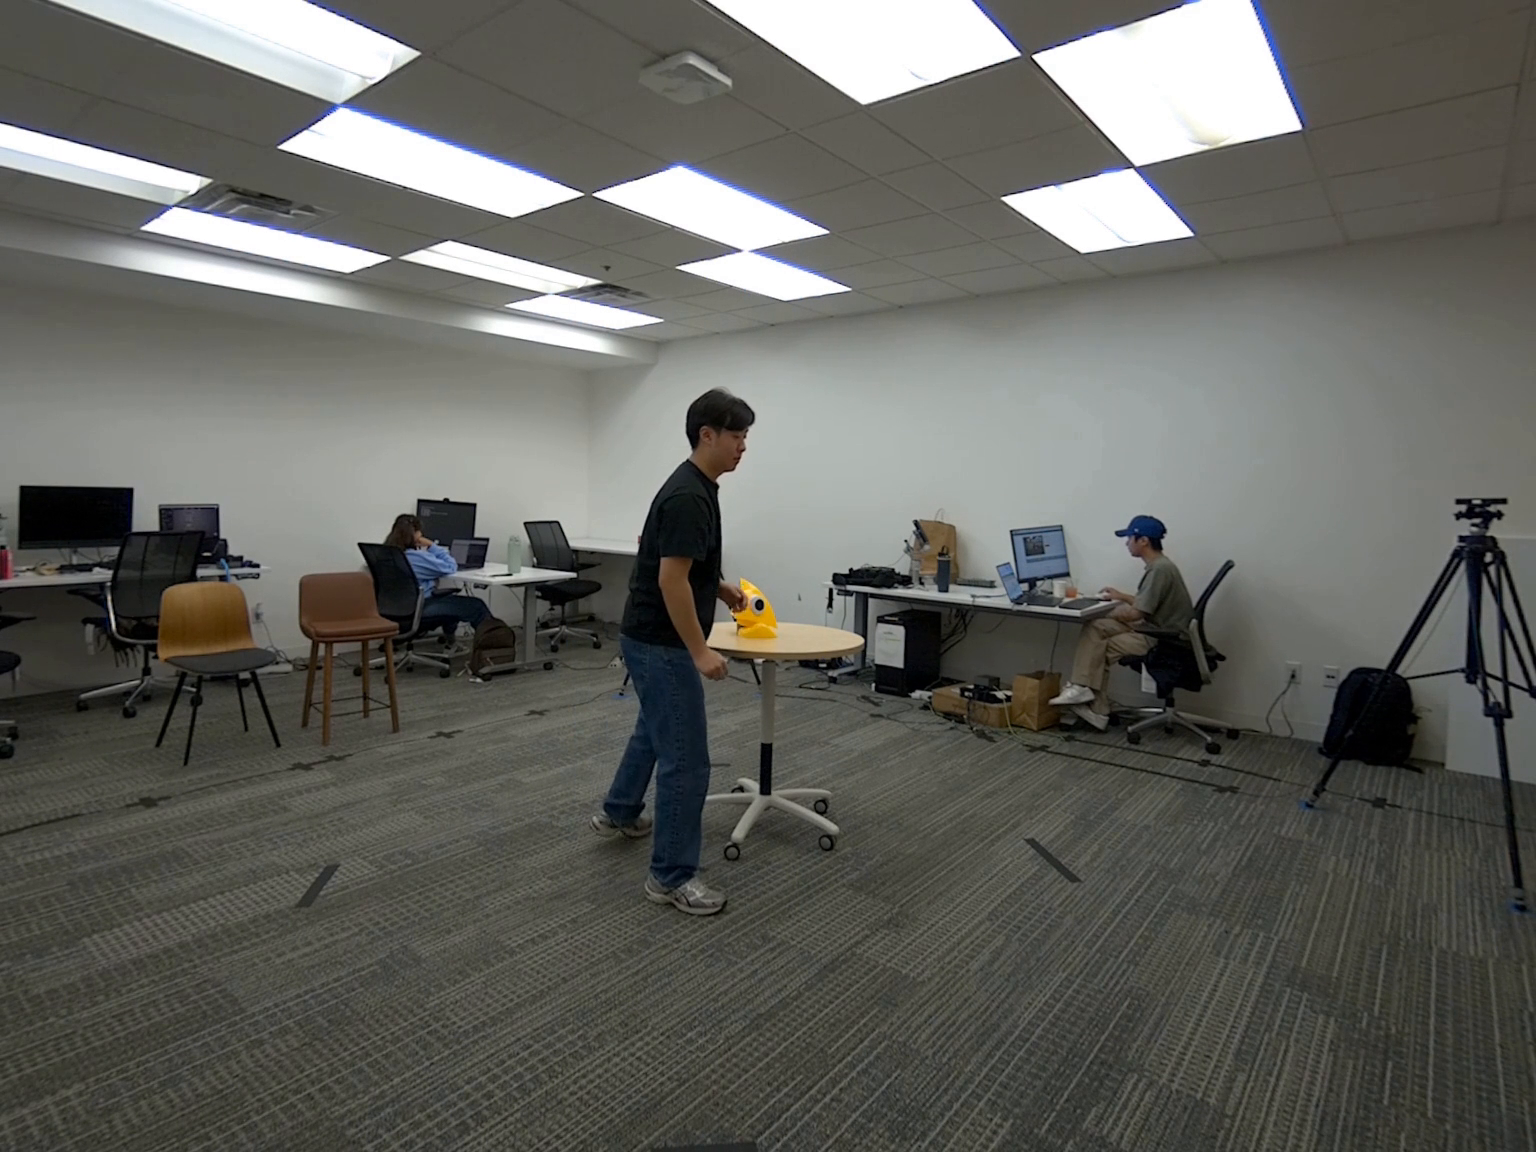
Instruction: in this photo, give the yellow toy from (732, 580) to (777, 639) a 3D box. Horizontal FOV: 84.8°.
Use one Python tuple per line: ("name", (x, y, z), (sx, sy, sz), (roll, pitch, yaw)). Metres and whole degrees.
("yellow toy", (-0.064, 0.120, 3.510), (0.192, 0.230, 0.207), (0, 4, -6))
